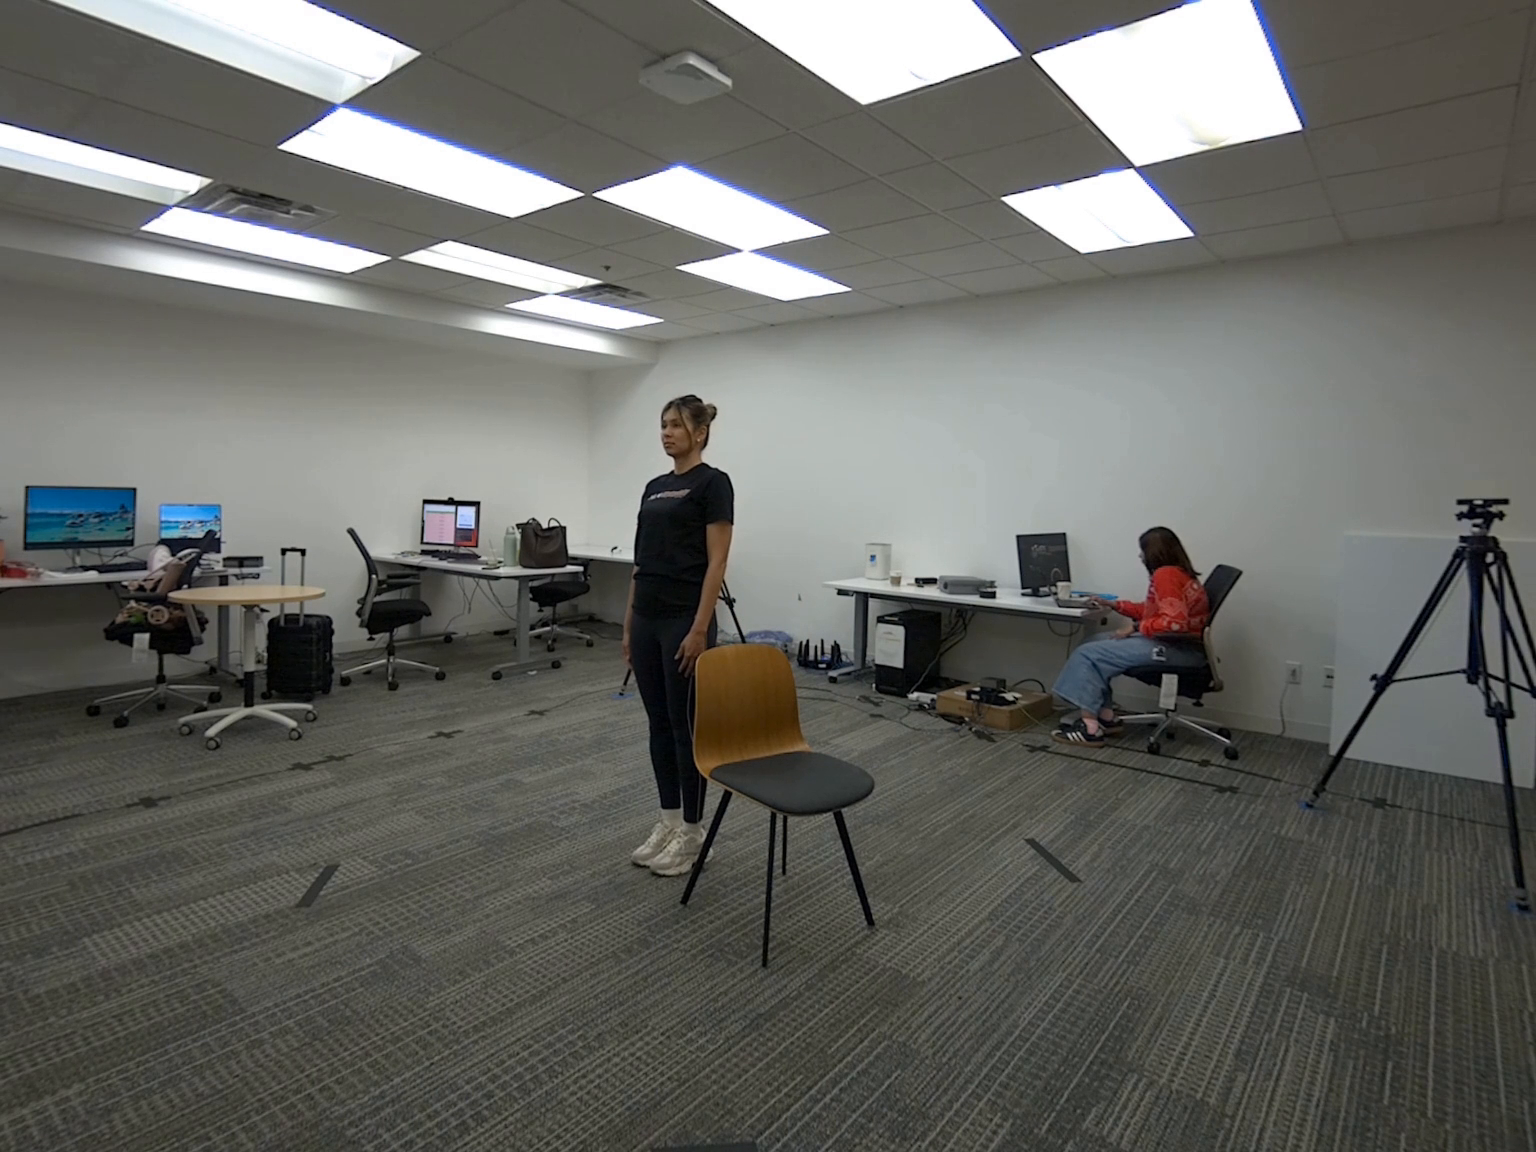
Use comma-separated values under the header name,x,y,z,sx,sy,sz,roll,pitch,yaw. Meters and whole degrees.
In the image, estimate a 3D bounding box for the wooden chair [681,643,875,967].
name,x,y,z,sx,sy,sz,roll,pitch,yaw
wooden chair,0.038,0.684,2.748,0.464,0.878,0.539,-1,0,-37
